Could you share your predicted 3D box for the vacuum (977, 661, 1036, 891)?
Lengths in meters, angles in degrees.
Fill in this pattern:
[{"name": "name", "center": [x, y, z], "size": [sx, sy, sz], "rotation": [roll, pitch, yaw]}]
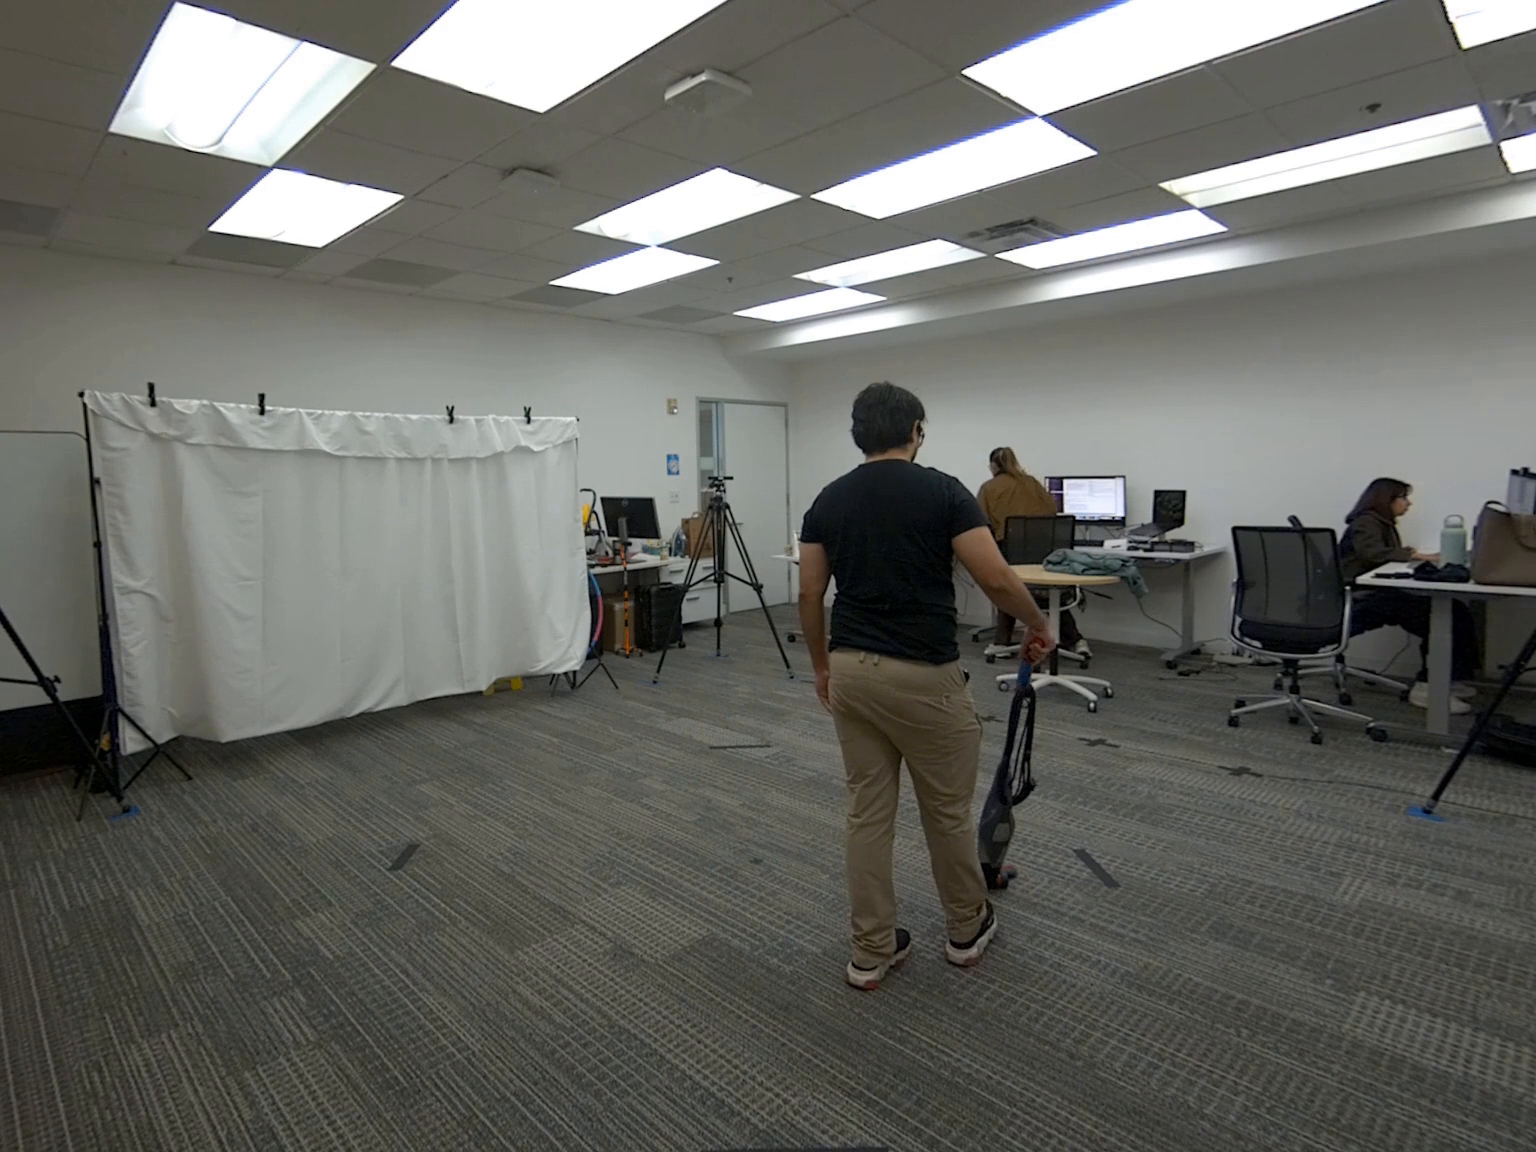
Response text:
[{"name": "vacuum", "center": [0.747, 0.618, 2.642], "size": [0.252, 1.023, 0.148], "rotation": [0, 34, -1]}]
